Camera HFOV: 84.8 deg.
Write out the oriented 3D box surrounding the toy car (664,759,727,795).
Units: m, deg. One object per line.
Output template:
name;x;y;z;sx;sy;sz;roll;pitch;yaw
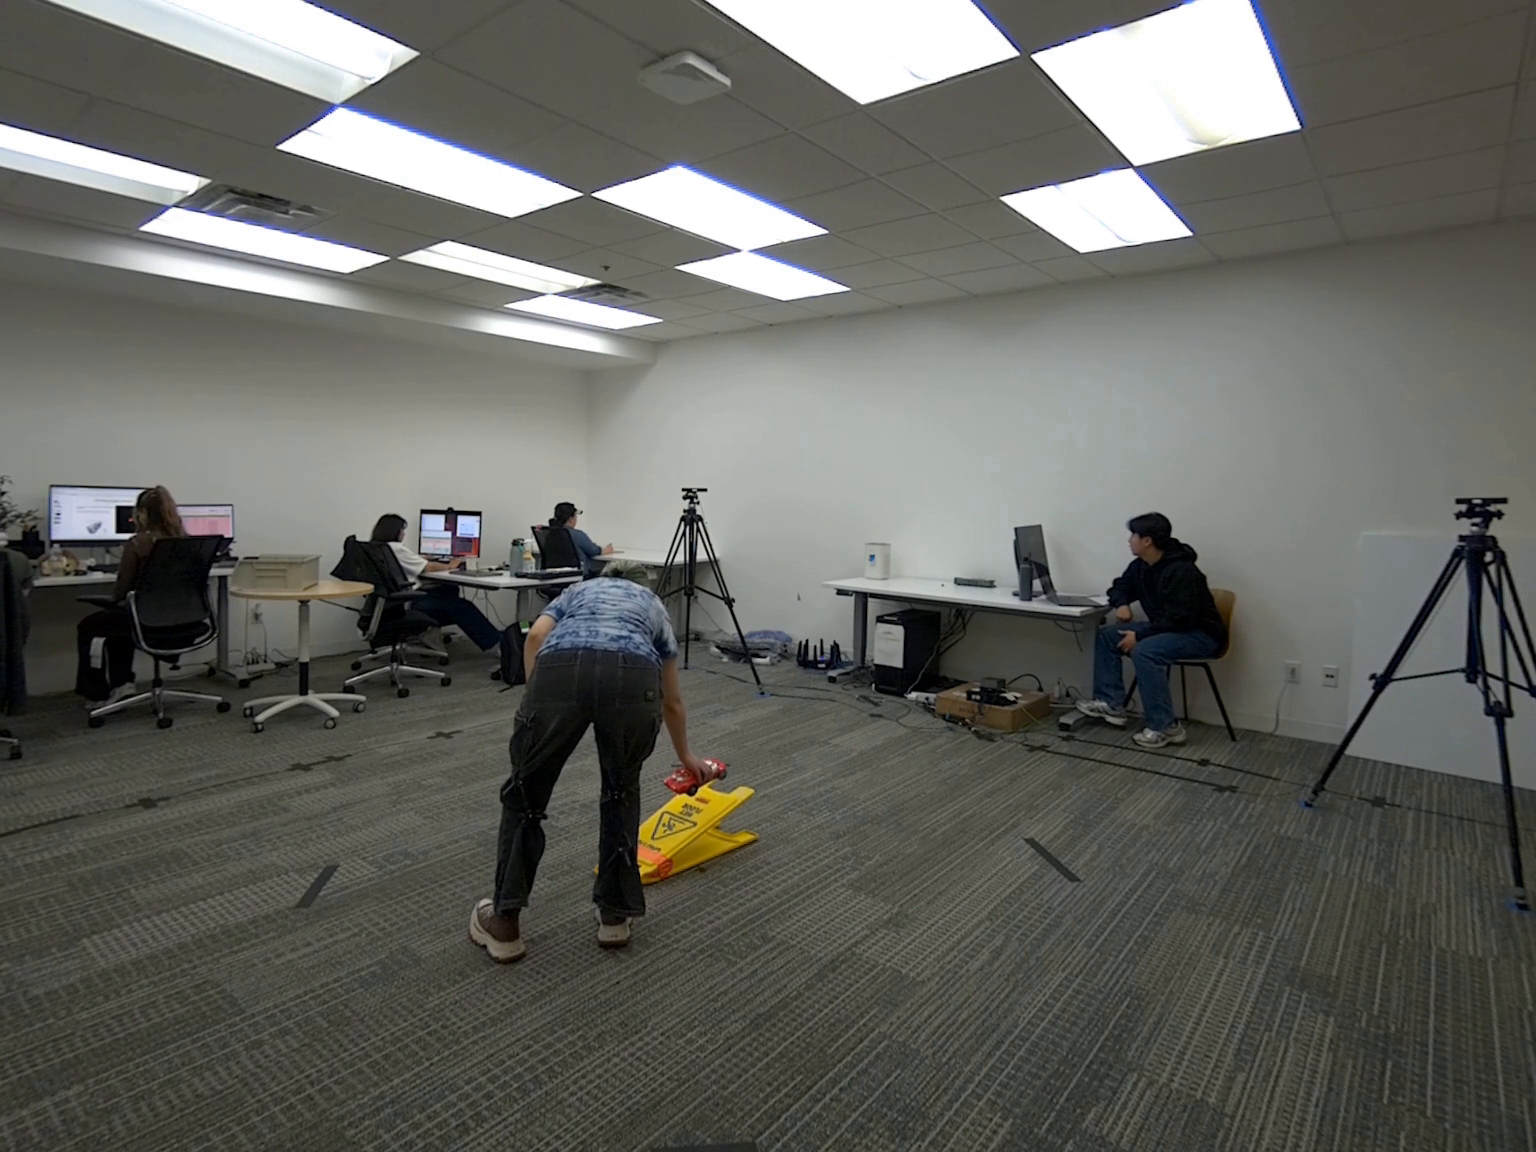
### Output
toy car;-0.287;0.748;3.157;0.247;0.082;0.135;-6;14;-41
